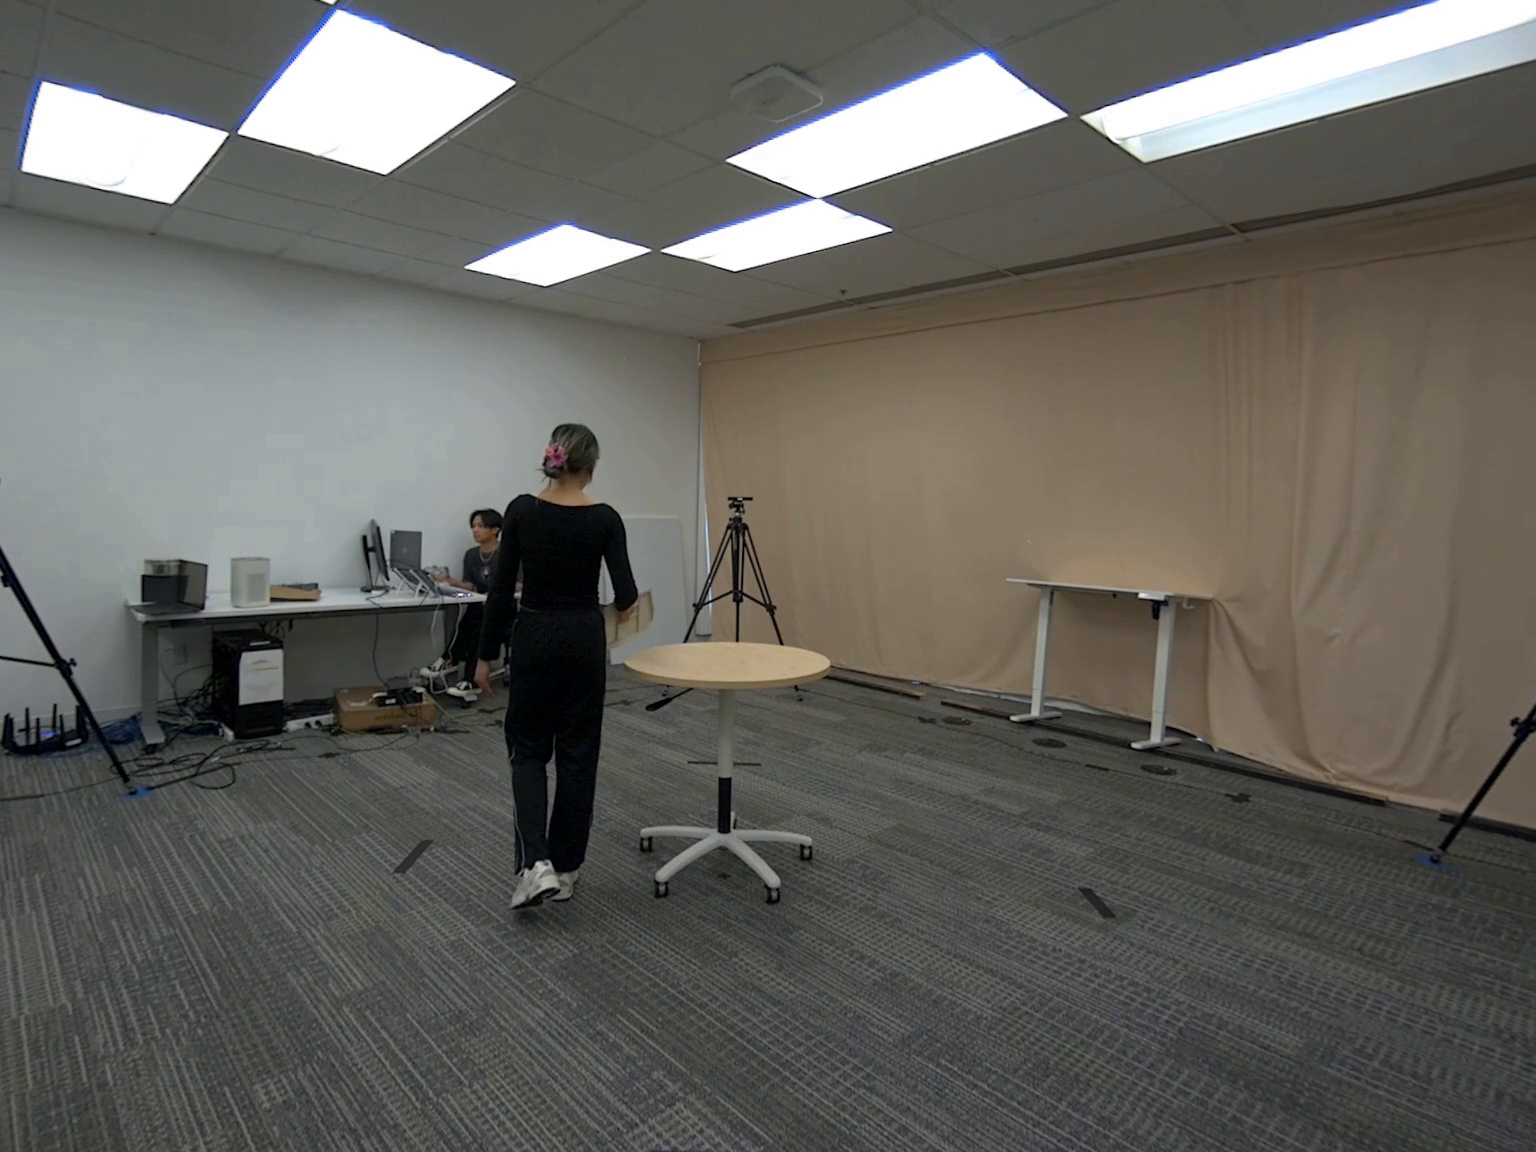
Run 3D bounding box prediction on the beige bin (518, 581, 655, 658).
[{"bbox_3d":[-0.723,0.151,3.321,0.429,0.187,0.373,5,11,20],"label":"beige bin"}]
